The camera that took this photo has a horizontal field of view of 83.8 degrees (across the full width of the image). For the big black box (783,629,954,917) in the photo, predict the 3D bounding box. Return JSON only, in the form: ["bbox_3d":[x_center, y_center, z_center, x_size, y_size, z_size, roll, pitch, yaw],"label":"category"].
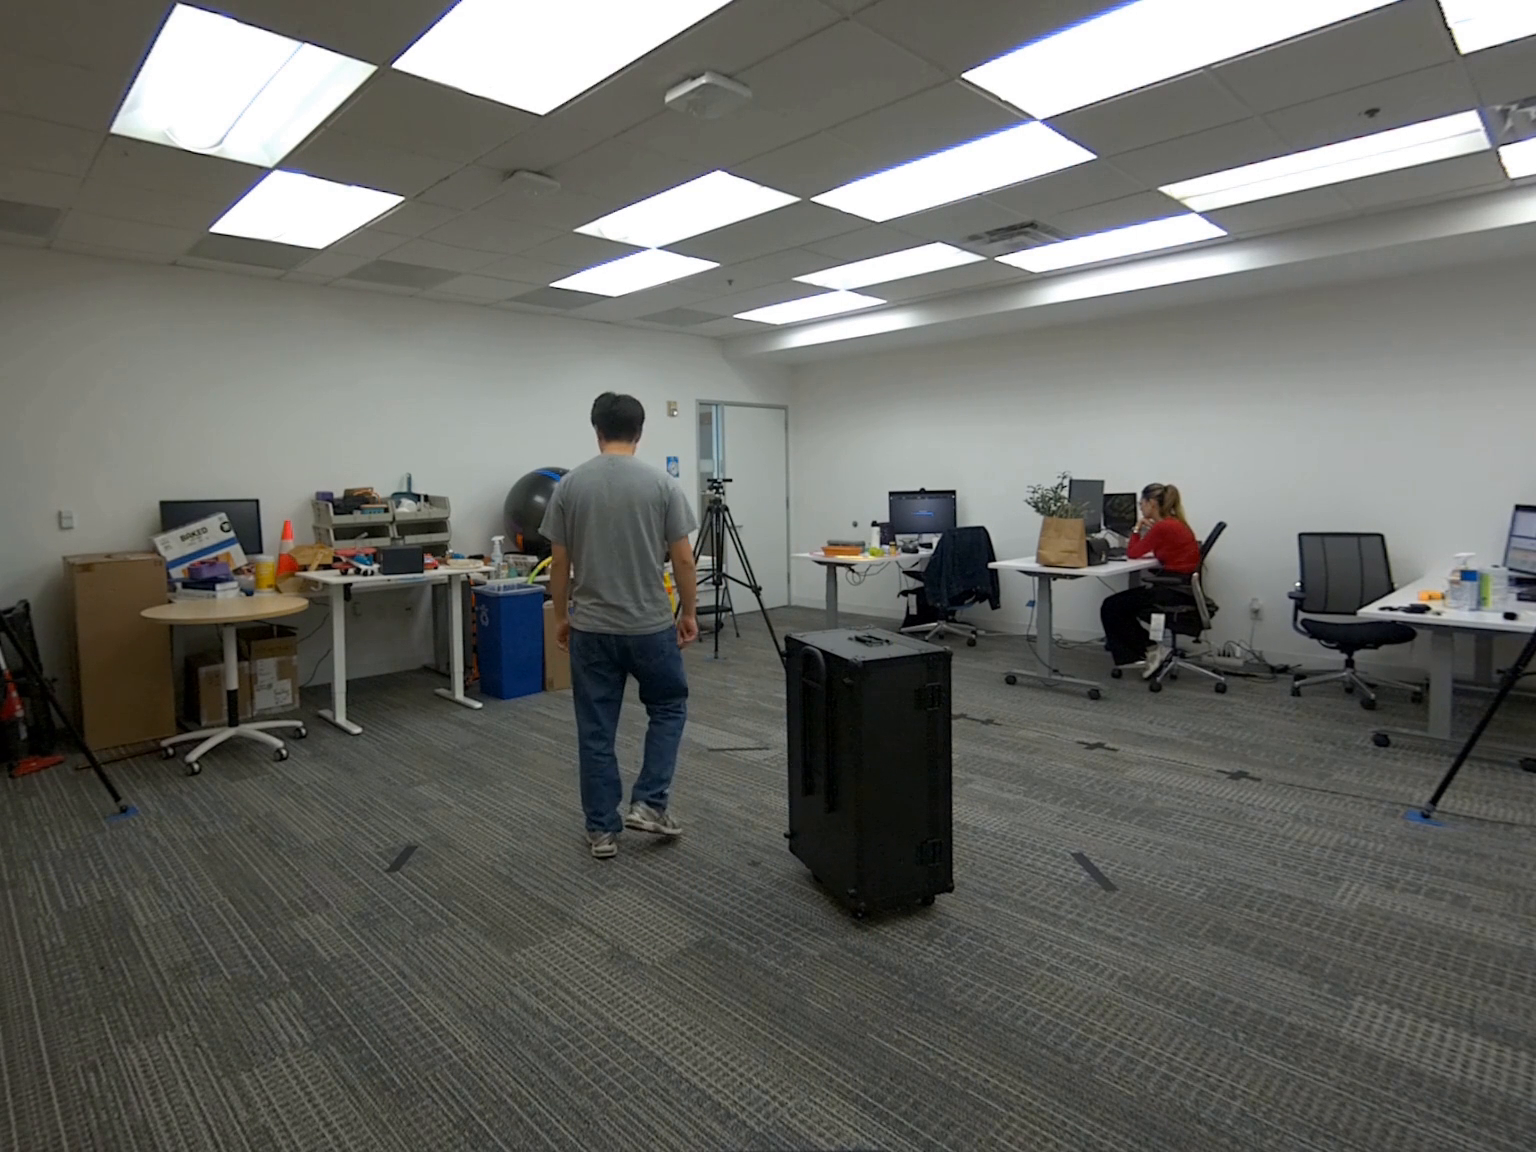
[{"bbox_3d":[0.324,0.641,2.847,0.389,0.858,0.533,-4,5,-23],"label":"big black box"}]
